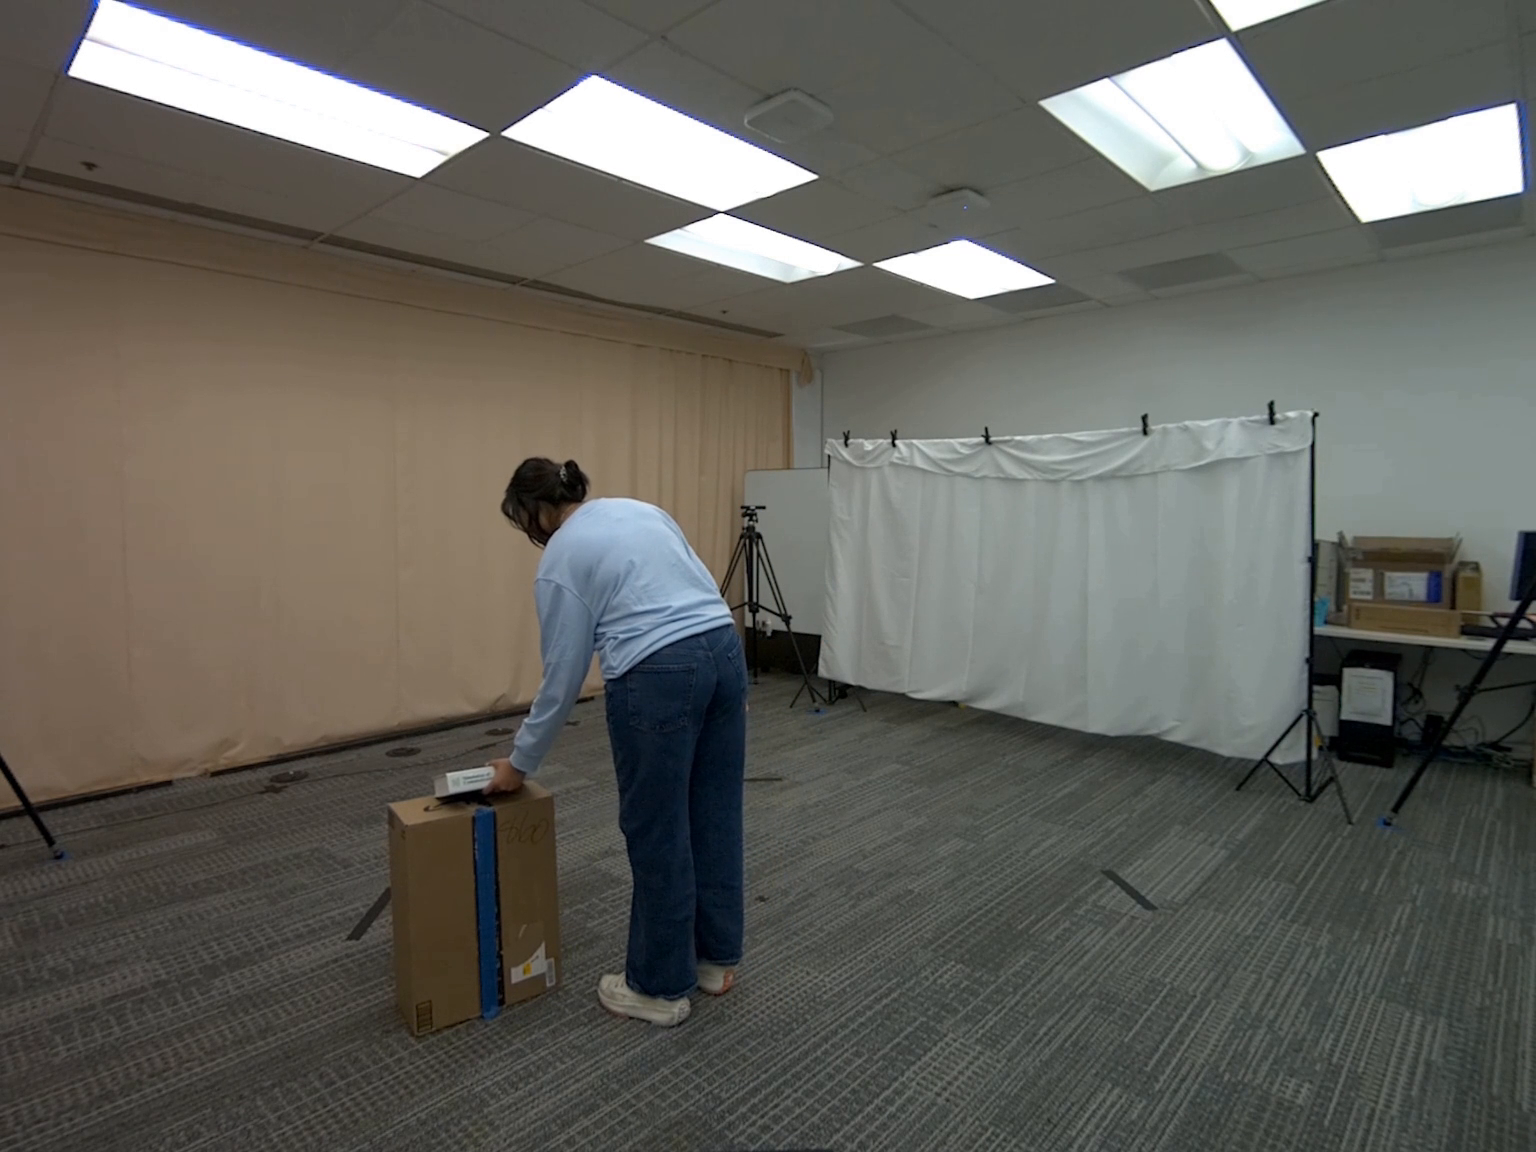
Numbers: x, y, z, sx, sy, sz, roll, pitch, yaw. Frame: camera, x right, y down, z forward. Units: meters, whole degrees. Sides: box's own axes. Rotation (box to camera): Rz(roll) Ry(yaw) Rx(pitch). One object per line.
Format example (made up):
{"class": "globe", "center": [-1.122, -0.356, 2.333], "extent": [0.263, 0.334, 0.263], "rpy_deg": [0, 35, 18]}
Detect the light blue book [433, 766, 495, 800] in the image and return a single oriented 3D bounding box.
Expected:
{"class": "light blue book", "center": [-0.809, 0.580, 2.421], "extent": [0.254, 0.059, 0.195], "rpy_deg": [-3, -13, -33]}
